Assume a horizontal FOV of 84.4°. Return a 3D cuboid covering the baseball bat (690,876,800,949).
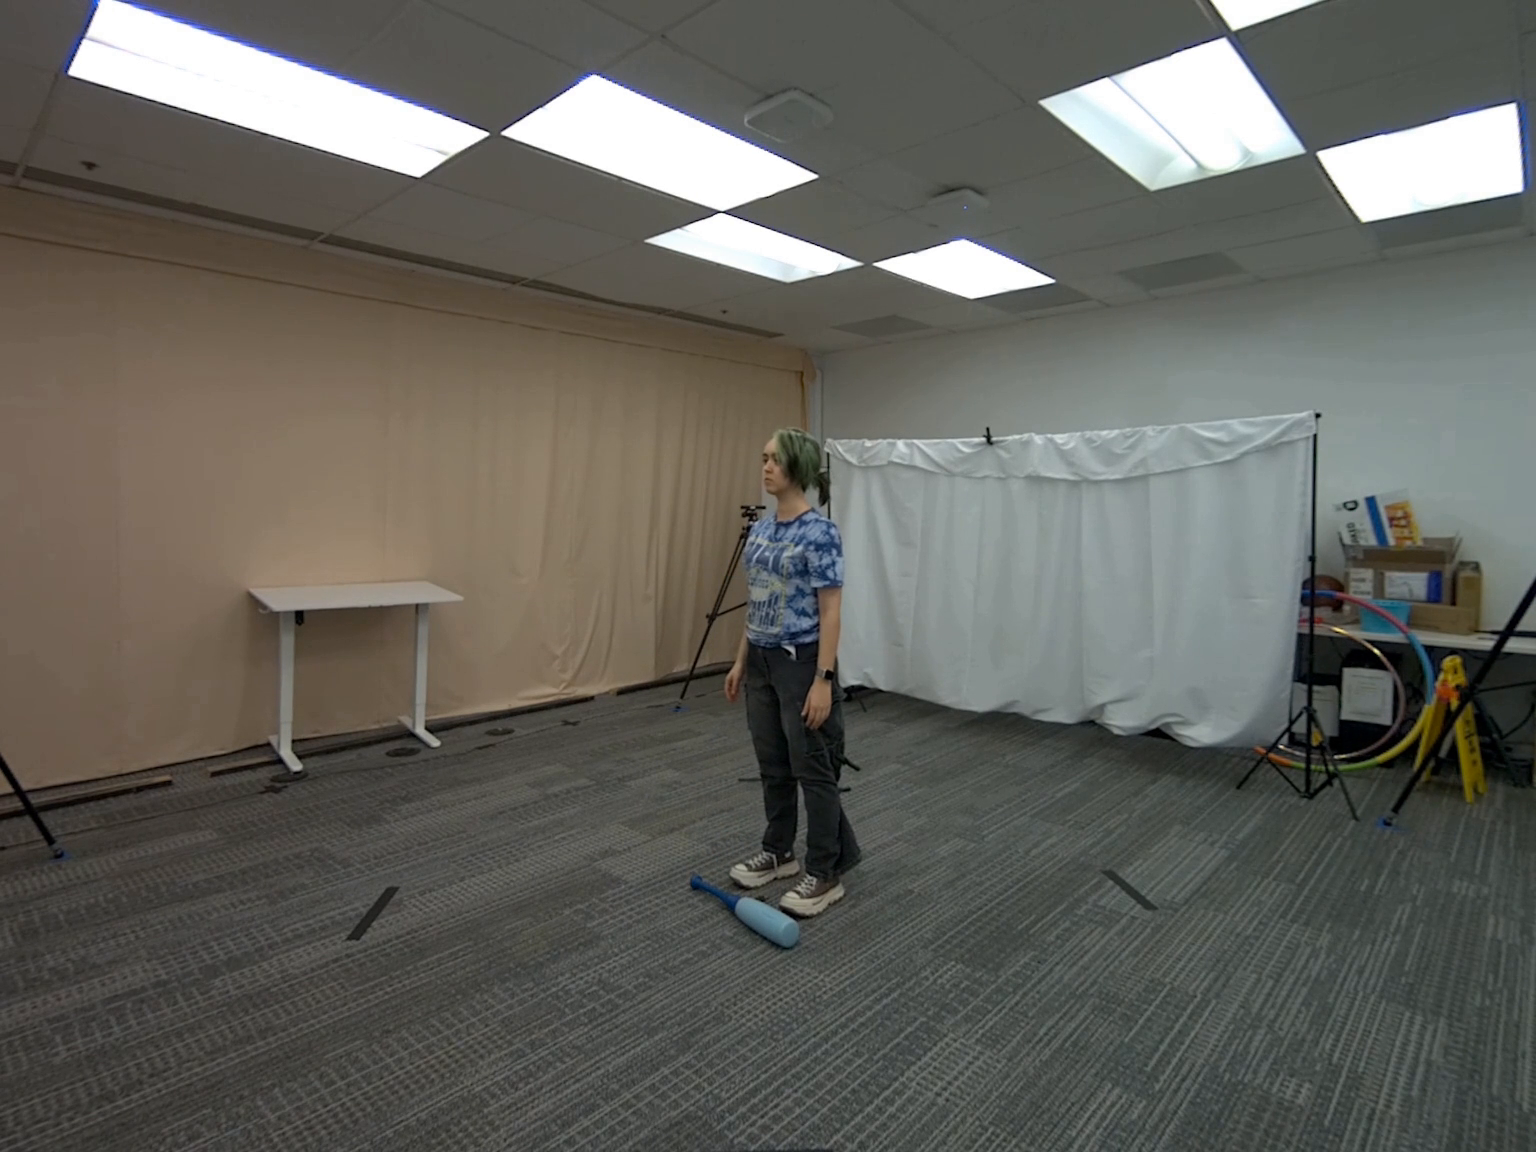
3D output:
[{"bbox_3d":[-0.094,1.112,2.857,0.086,0.089,0.560,-3,4,-35],"label":"baseball bat"}]
